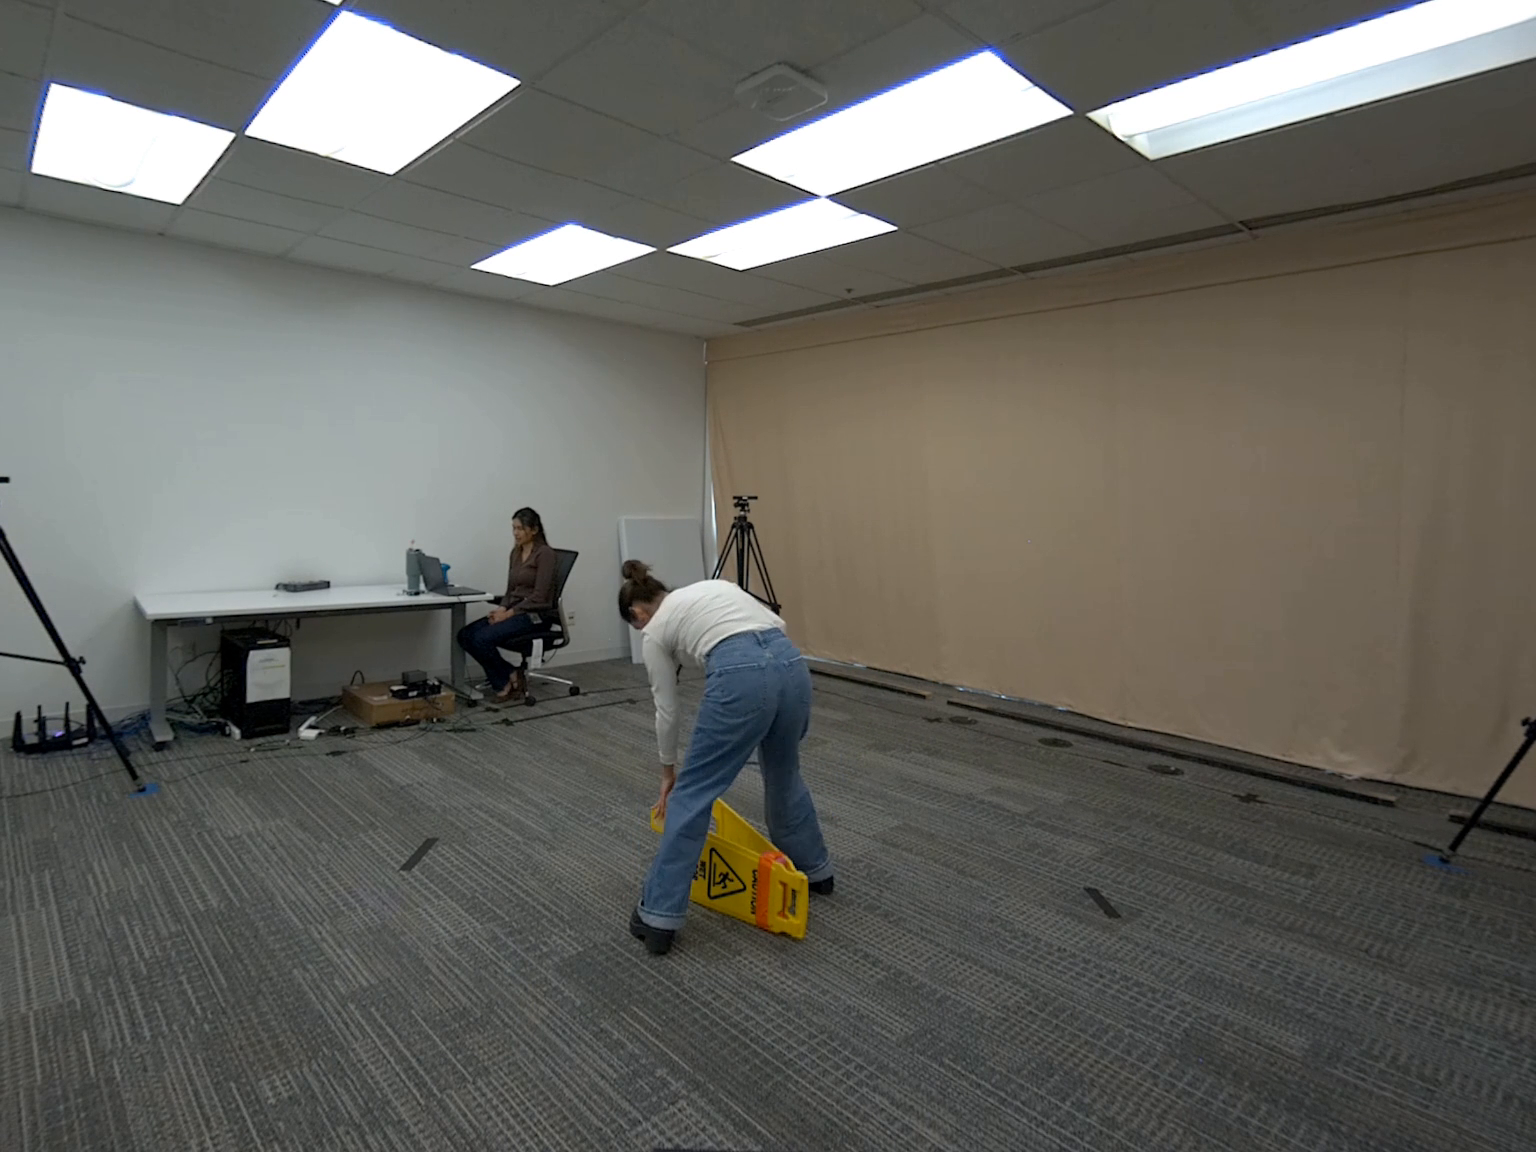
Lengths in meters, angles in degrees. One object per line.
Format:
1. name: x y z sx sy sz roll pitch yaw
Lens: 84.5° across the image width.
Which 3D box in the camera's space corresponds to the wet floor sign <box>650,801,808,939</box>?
1. wet floor sign: -0.109 0.995 2.856 0.283 0.281 0.663 -3 7 -41
